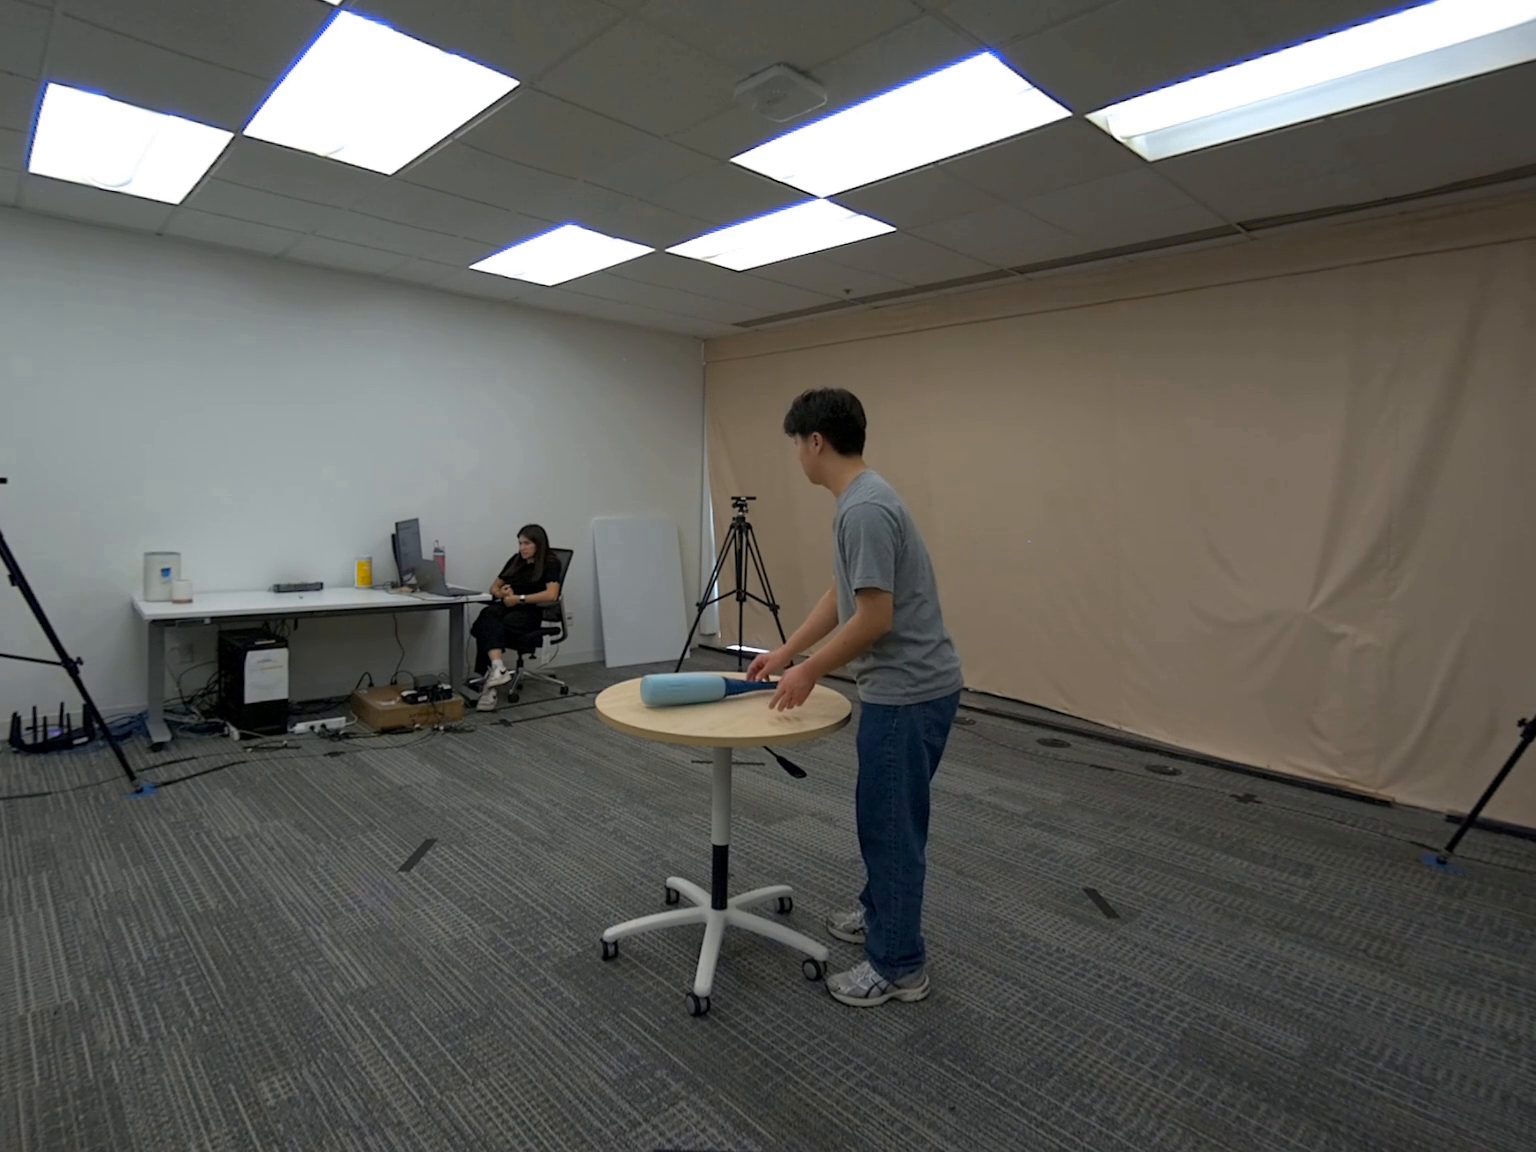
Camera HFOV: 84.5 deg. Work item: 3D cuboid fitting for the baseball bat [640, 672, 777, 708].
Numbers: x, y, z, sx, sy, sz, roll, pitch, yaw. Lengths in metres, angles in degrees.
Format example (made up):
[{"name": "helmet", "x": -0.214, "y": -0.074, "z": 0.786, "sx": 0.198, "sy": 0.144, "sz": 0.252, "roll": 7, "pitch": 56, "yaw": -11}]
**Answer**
[{"name": "baseball bat", "x": -0.125, "y": 0.337, "z": 2.538, "sx": 0.532, "sy": 0.089, "sz": 0.091, "roll": 2, "pitch": 3, "yaw": -28}]
